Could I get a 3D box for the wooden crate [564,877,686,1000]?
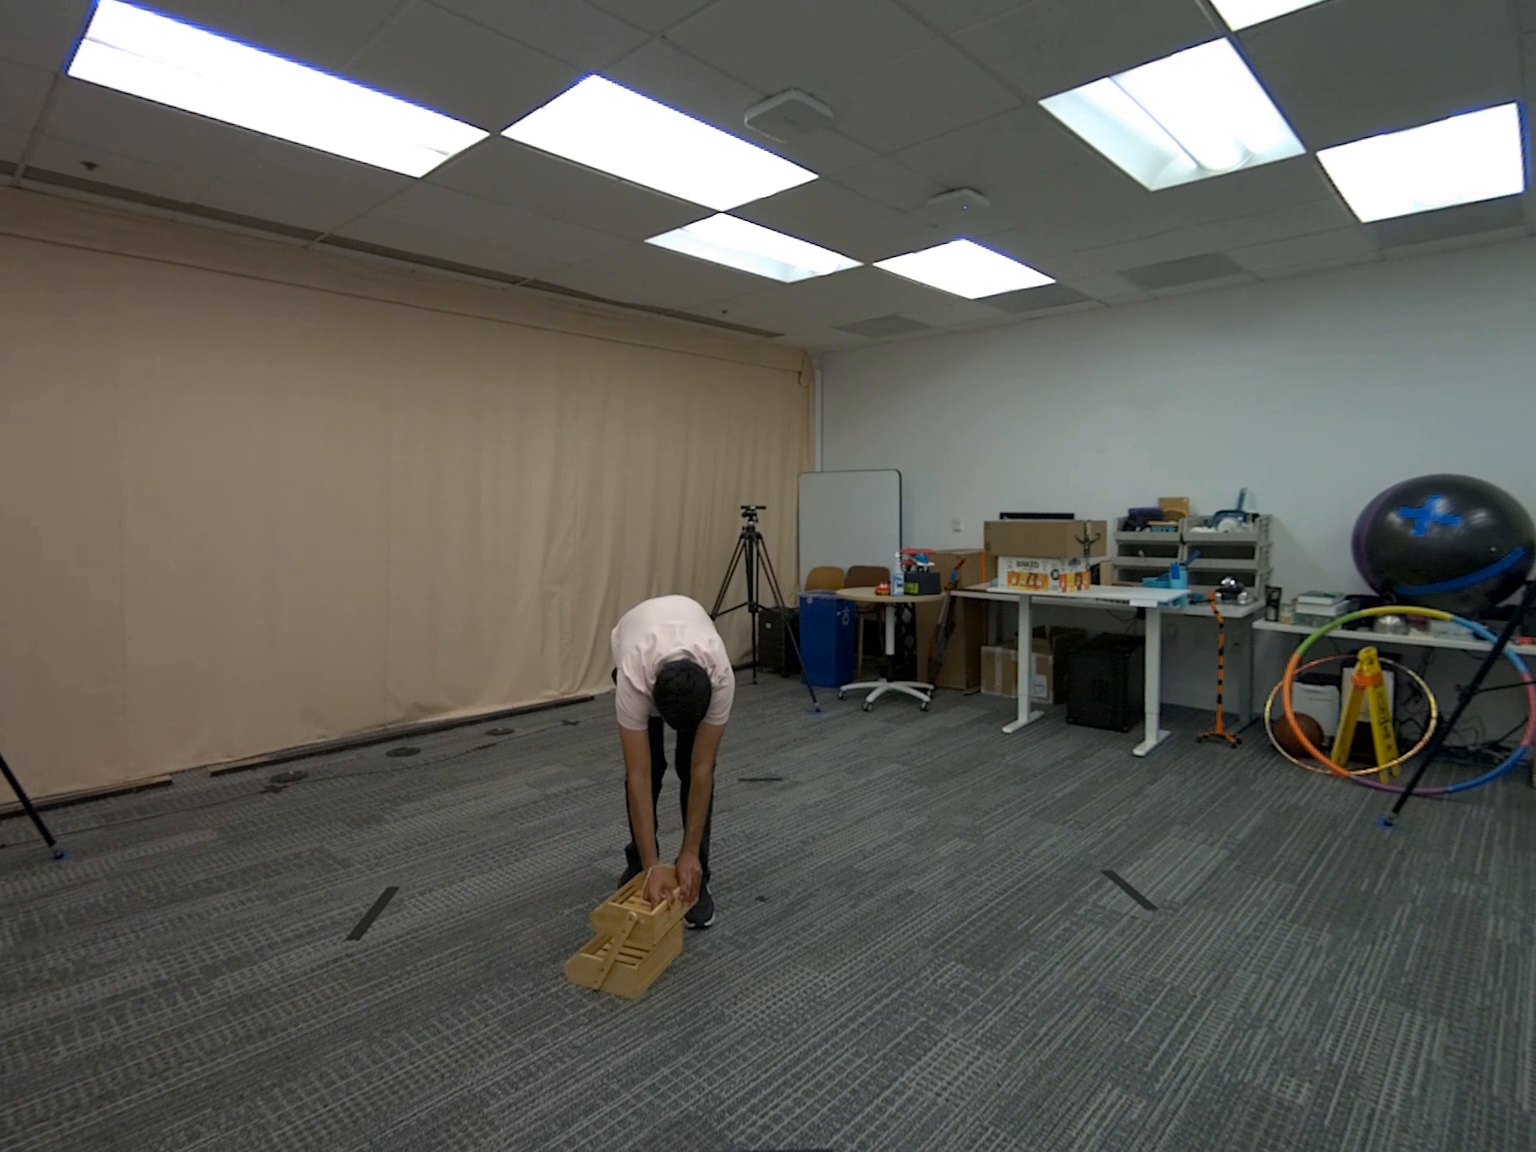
[{"bbox_3d":[-0.410,1.045,2.546,0.309,0.273,0.318,2,4,21],"label":"wooden crate"}]
